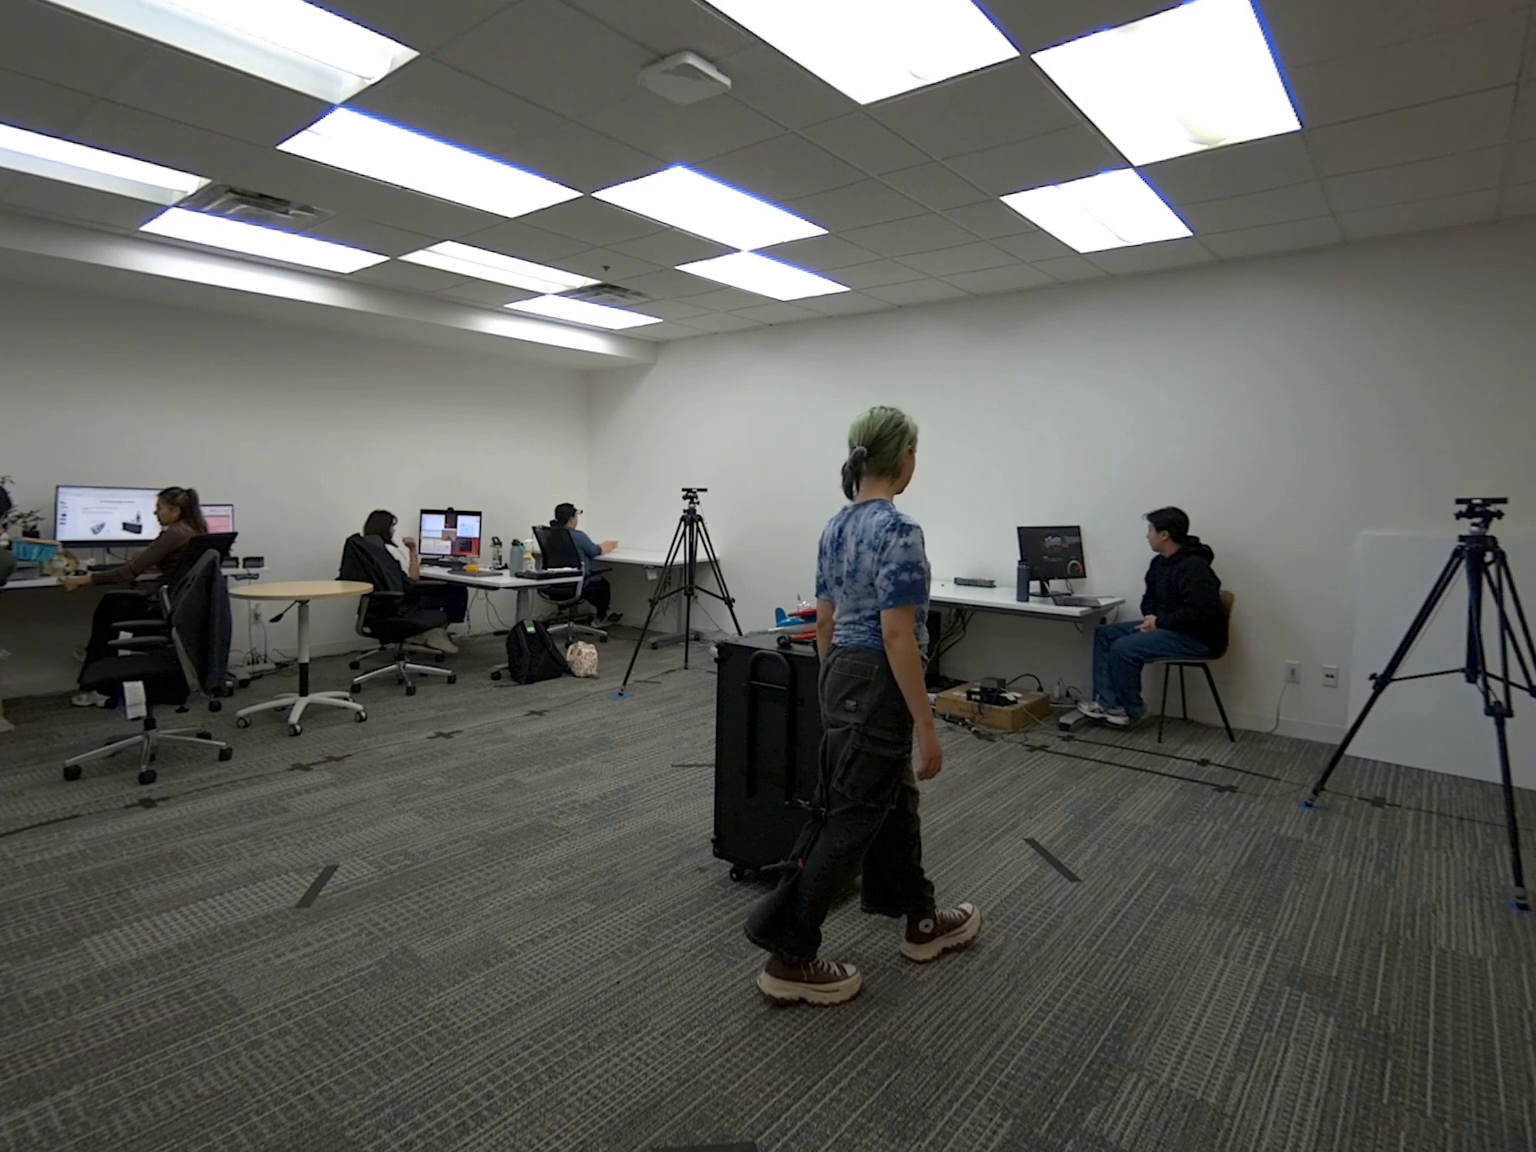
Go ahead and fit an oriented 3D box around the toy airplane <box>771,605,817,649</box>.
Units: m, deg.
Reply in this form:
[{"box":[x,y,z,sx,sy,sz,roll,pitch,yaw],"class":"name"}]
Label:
[{"box":[0.121,0.171,2.884,0.262,0.156,0.249,3,5,8],"class":"toy airplane"}]
